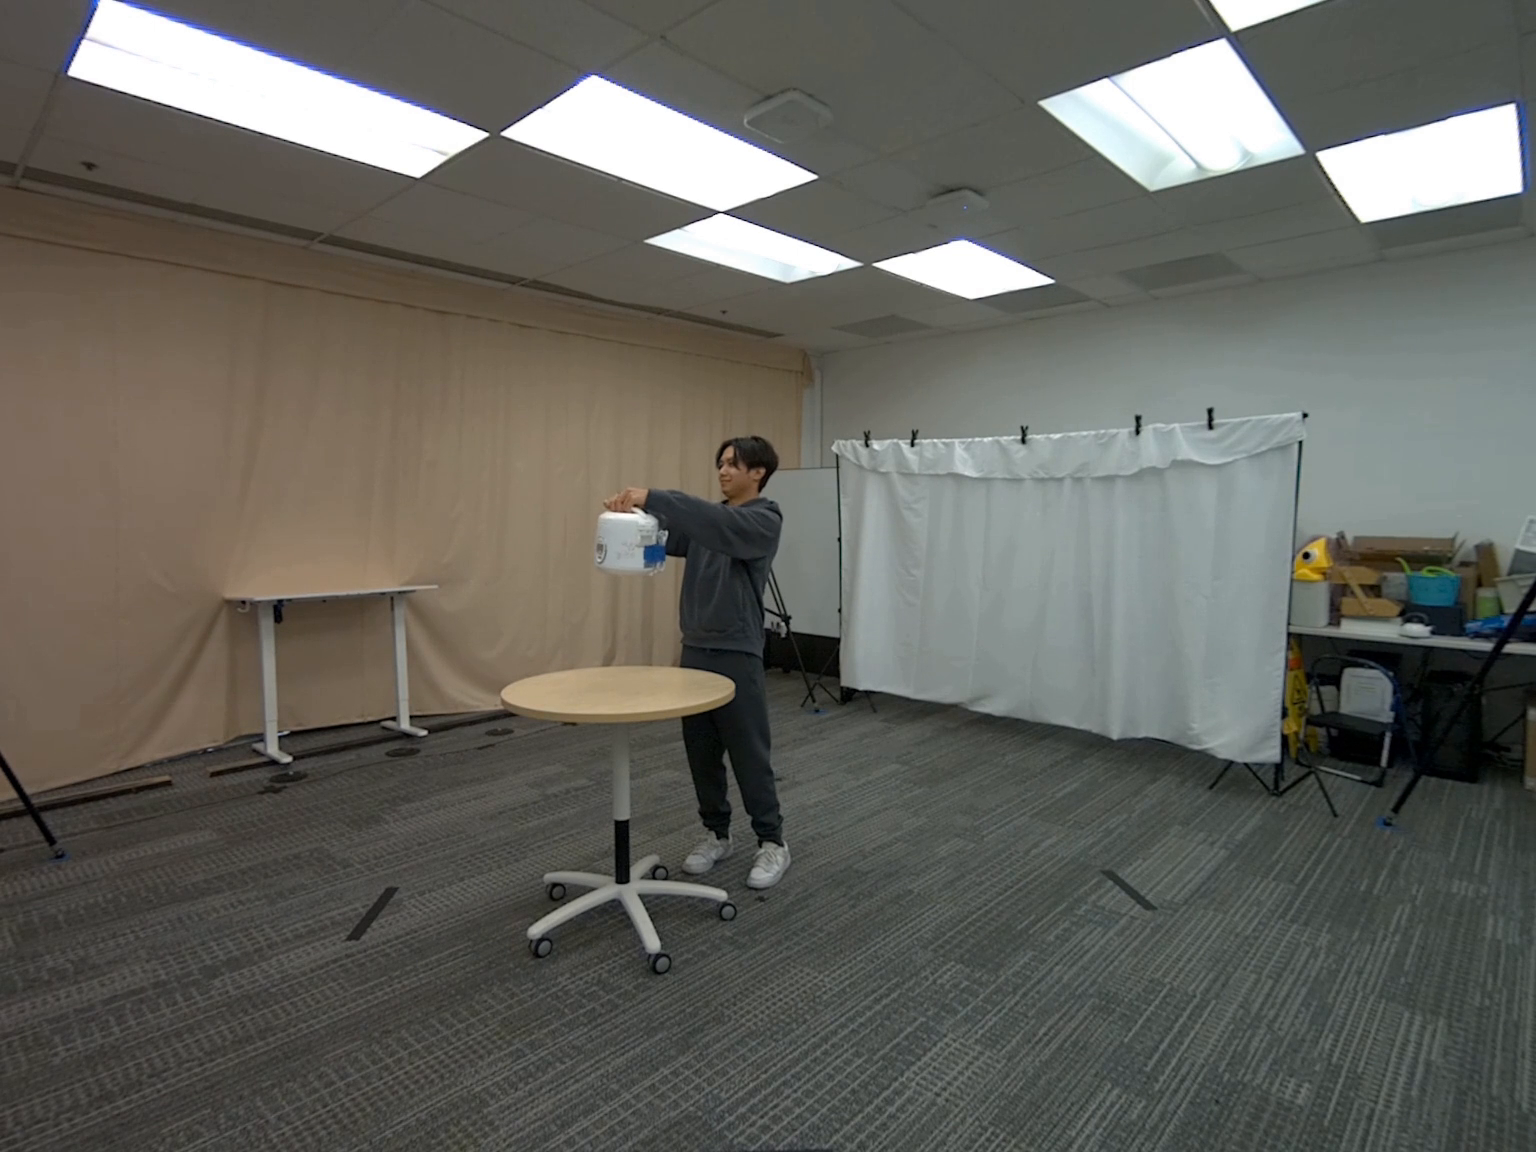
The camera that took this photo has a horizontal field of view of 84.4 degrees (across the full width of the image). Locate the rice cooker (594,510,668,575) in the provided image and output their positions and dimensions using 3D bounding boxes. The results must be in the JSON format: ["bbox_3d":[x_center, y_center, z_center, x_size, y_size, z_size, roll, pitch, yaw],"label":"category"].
[{"bbox_3d":[-0.483,-0.122,2.864,0.210,0.232,0.228,4,4,-43],"label":"rice cooker"}]
